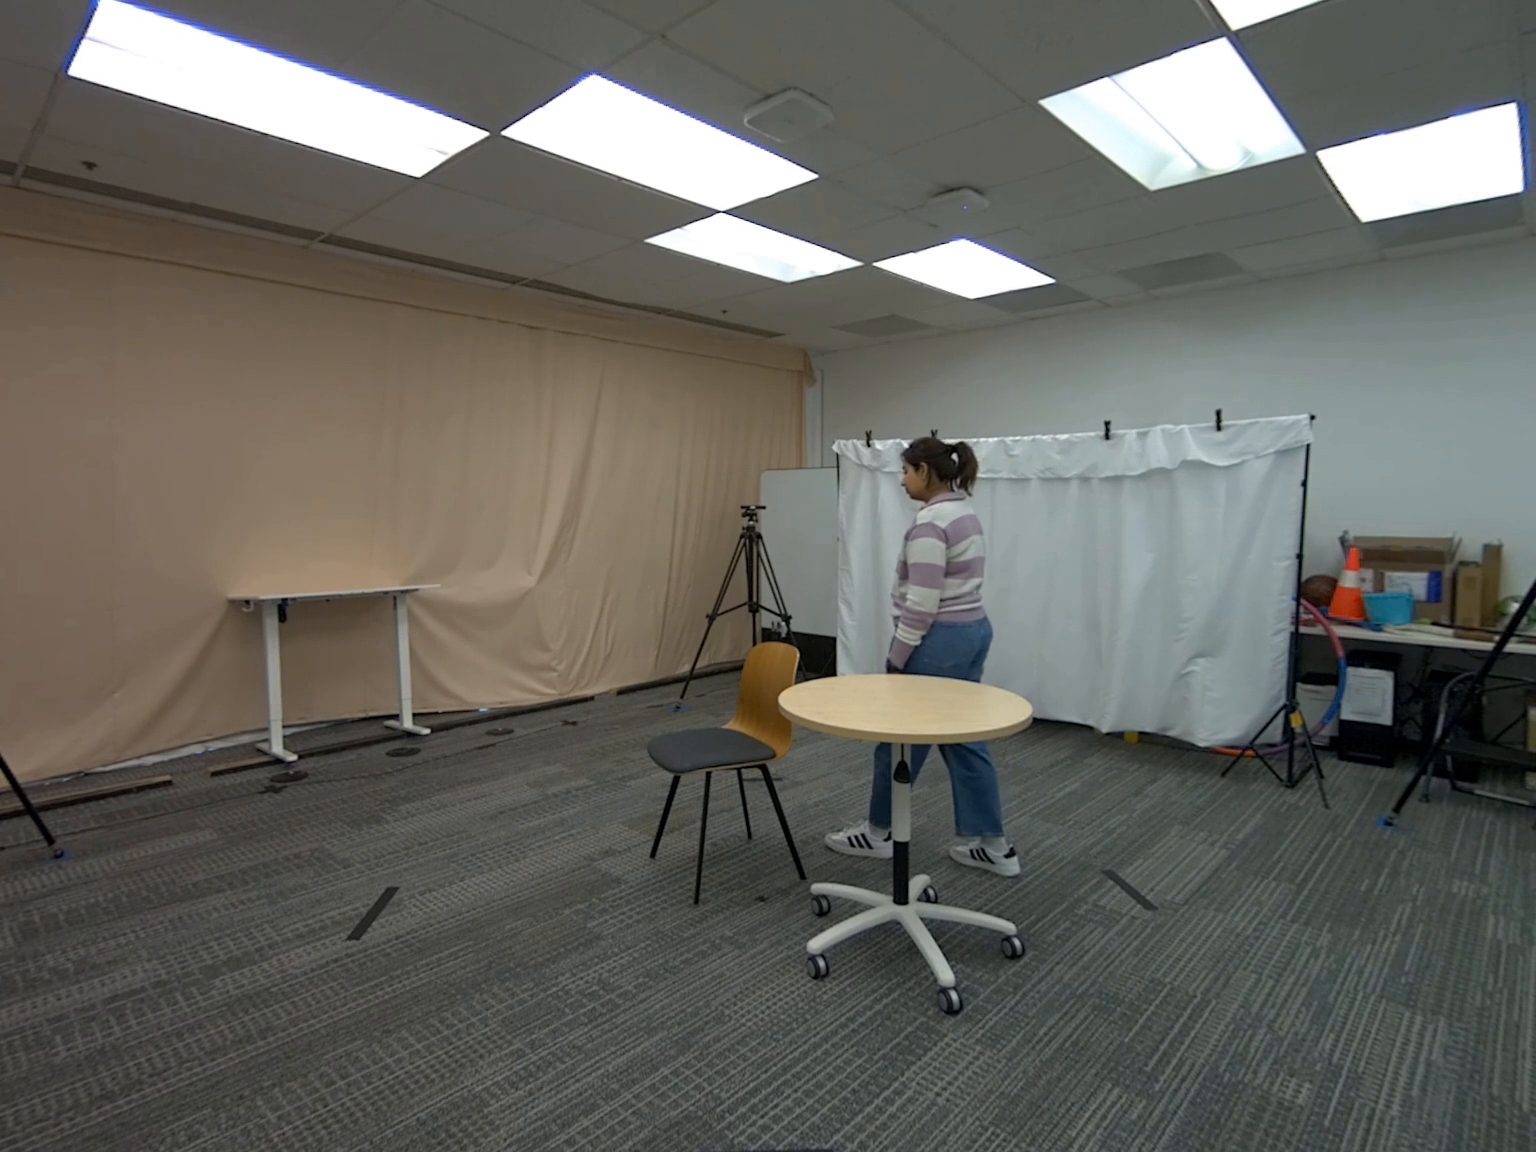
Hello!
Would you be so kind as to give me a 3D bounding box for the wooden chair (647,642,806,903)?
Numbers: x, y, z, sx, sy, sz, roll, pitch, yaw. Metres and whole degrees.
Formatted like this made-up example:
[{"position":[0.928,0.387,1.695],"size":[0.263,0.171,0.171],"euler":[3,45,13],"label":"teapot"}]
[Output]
[{"position":[-0.170,0.700,3.202],"size":[0.509,0.876,0.491],"euler":[3,2,-27],"label":"wooden chair"}]
